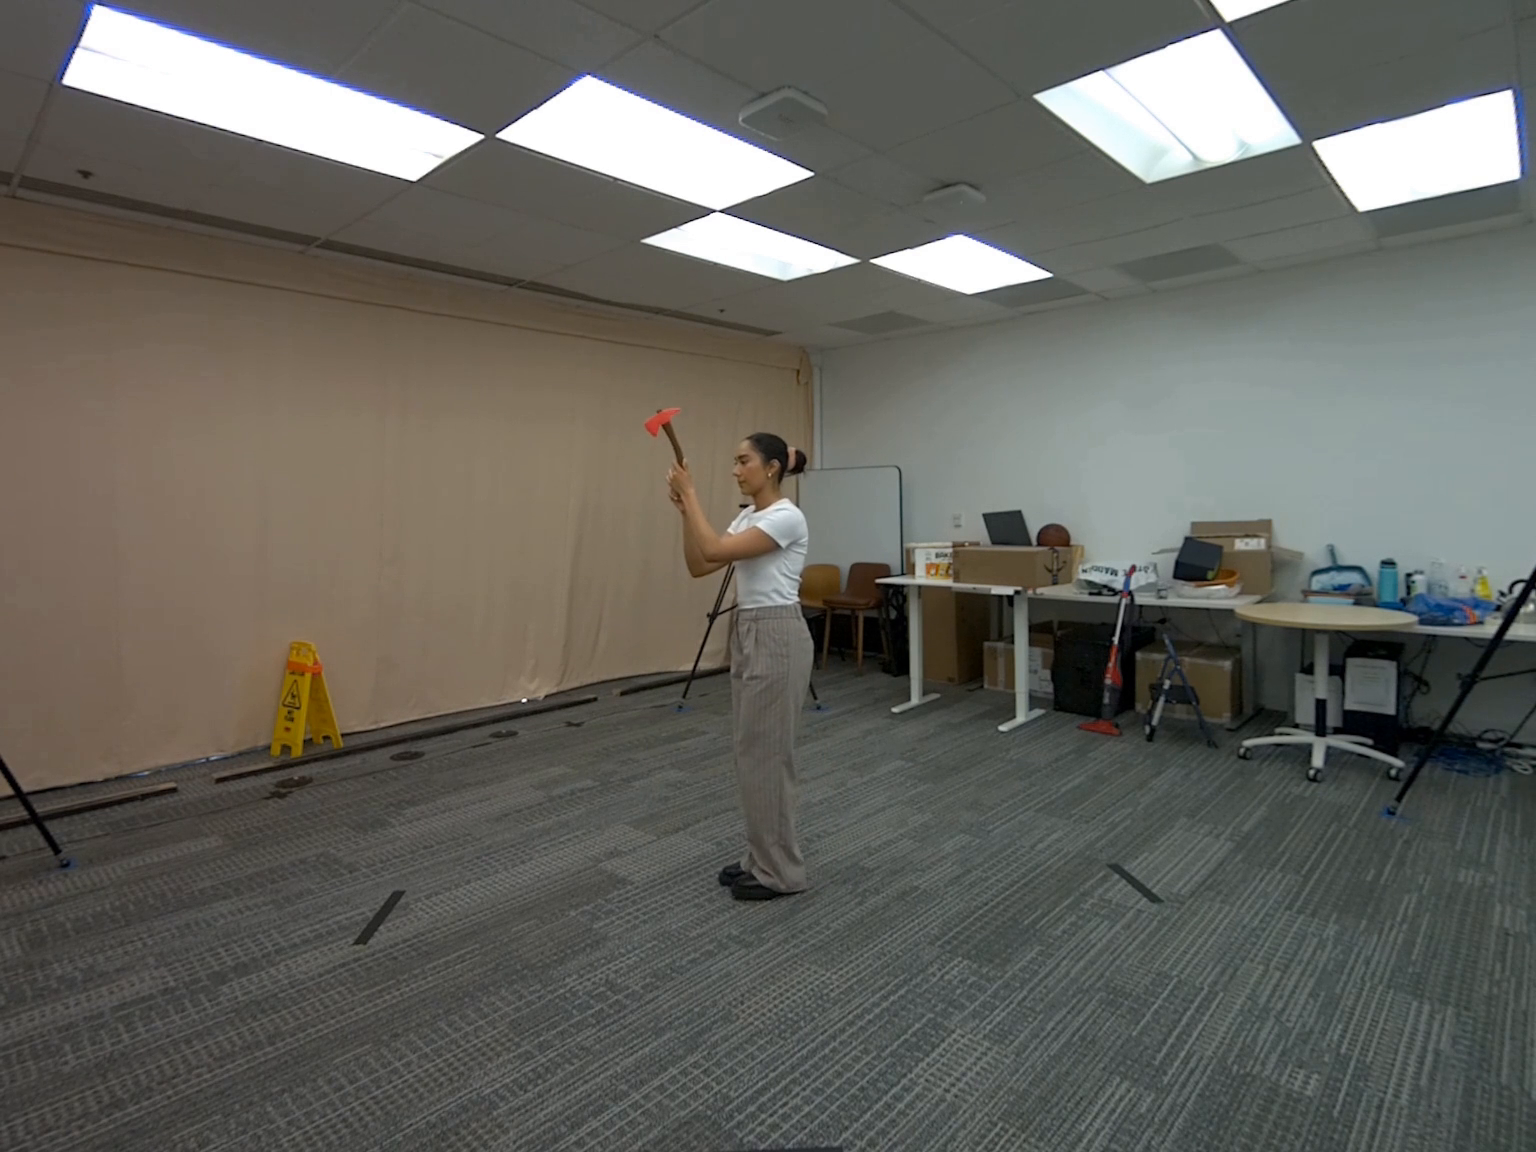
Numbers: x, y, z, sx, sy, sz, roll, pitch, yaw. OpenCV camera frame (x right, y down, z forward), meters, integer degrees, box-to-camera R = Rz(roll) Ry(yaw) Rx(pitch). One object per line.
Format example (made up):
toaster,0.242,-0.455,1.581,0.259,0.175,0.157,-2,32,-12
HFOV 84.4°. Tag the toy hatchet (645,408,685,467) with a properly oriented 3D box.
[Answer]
toy hatchet,-0.348,-0.447,2.953,0.129,0.268,0.030,-9,10,-11
